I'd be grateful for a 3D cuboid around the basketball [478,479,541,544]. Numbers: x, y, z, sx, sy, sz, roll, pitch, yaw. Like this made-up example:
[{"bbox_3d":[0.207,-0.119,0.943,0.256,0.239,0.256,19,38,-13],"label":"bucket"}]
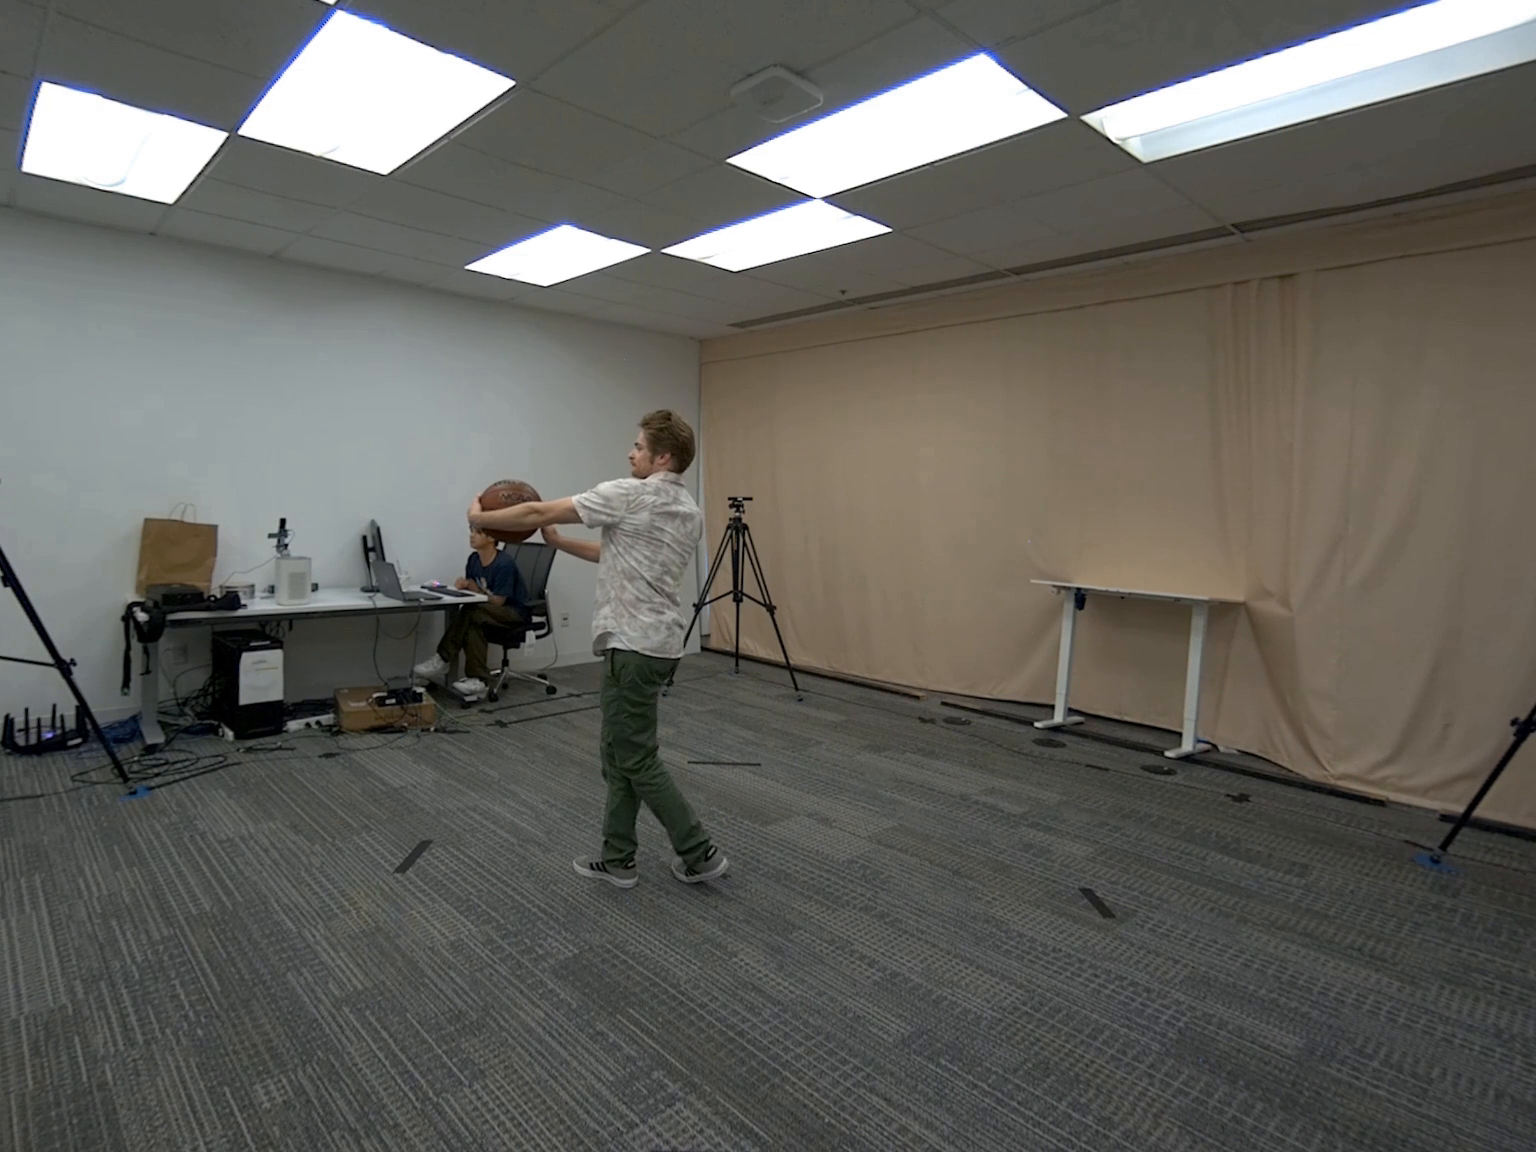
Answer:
[{"bbox_3d":[-0.959,-0.239,3.128,0.236,0.235,0.237,1,4,-1],"label":"basketball"}]
